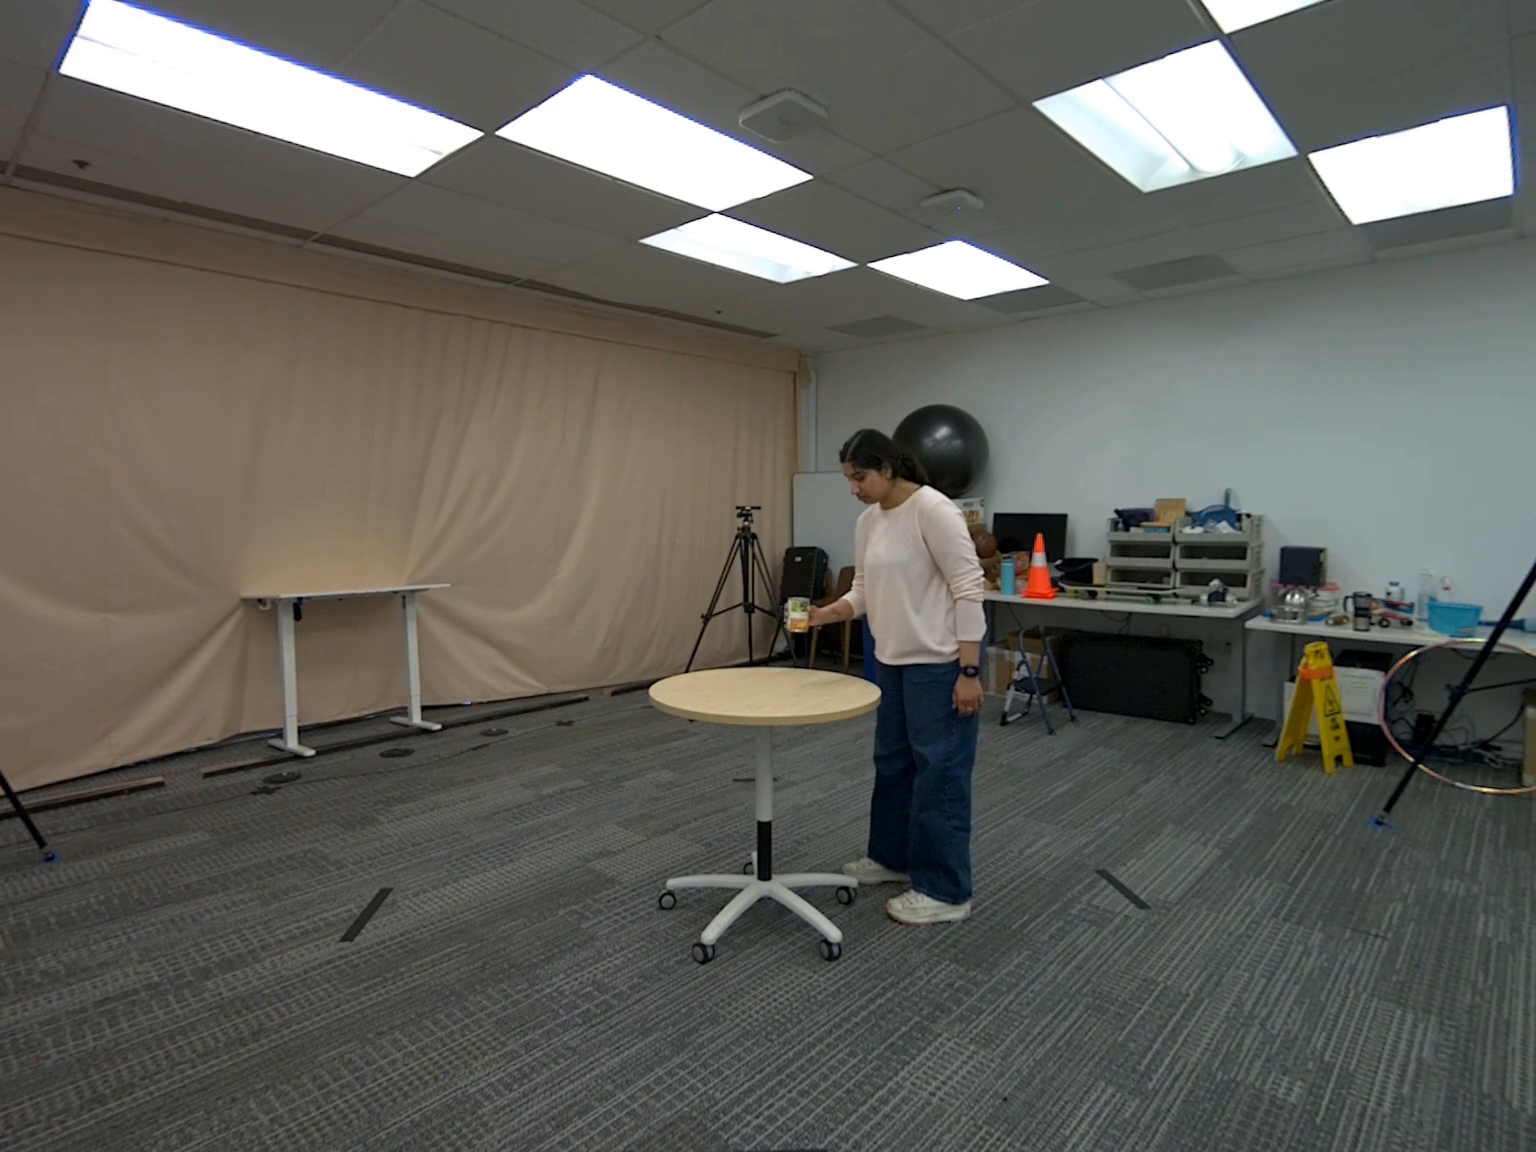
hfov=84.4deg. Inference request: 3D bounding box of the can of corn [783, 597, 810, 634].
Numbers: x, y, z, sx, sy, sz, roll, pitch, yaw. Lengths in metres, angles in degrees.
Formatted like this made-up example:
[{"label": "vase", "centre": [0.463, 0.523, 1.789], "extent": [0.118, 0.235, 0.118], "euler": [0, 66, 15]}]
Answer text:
[{"label": "can of corn", "centre": [0.108, 0.138, 2.920], "extent": [0.074, 0.111, 0.074], "euler": [1, 2, -2]}]
